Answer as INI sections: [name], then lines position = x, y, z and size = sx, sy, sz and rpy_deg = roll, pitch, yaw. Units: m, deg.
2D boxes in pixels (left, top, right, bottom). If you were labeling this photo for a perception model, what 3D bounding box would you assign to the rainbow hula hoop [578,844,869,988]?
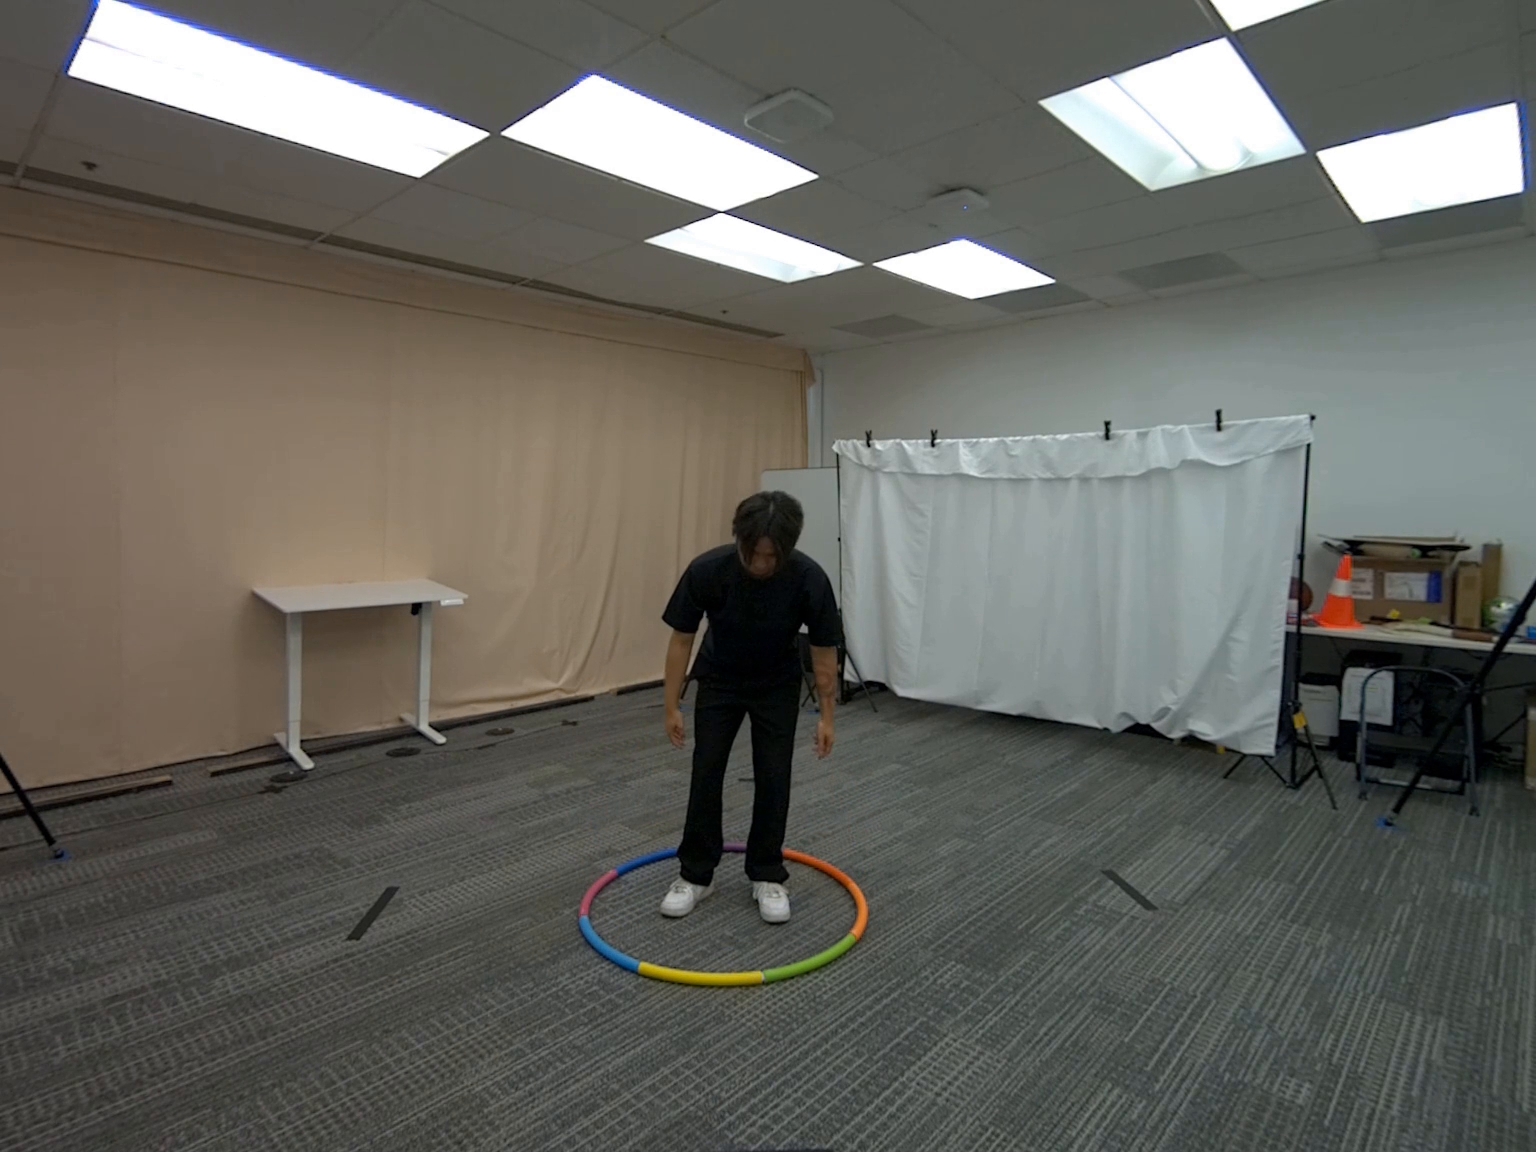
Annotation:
[rainbow hula hoop]
position = -0.149, 1.121, 2.919
size = 0.978, 0.035, 0.982
rpy_deg = 0, 5, -2
